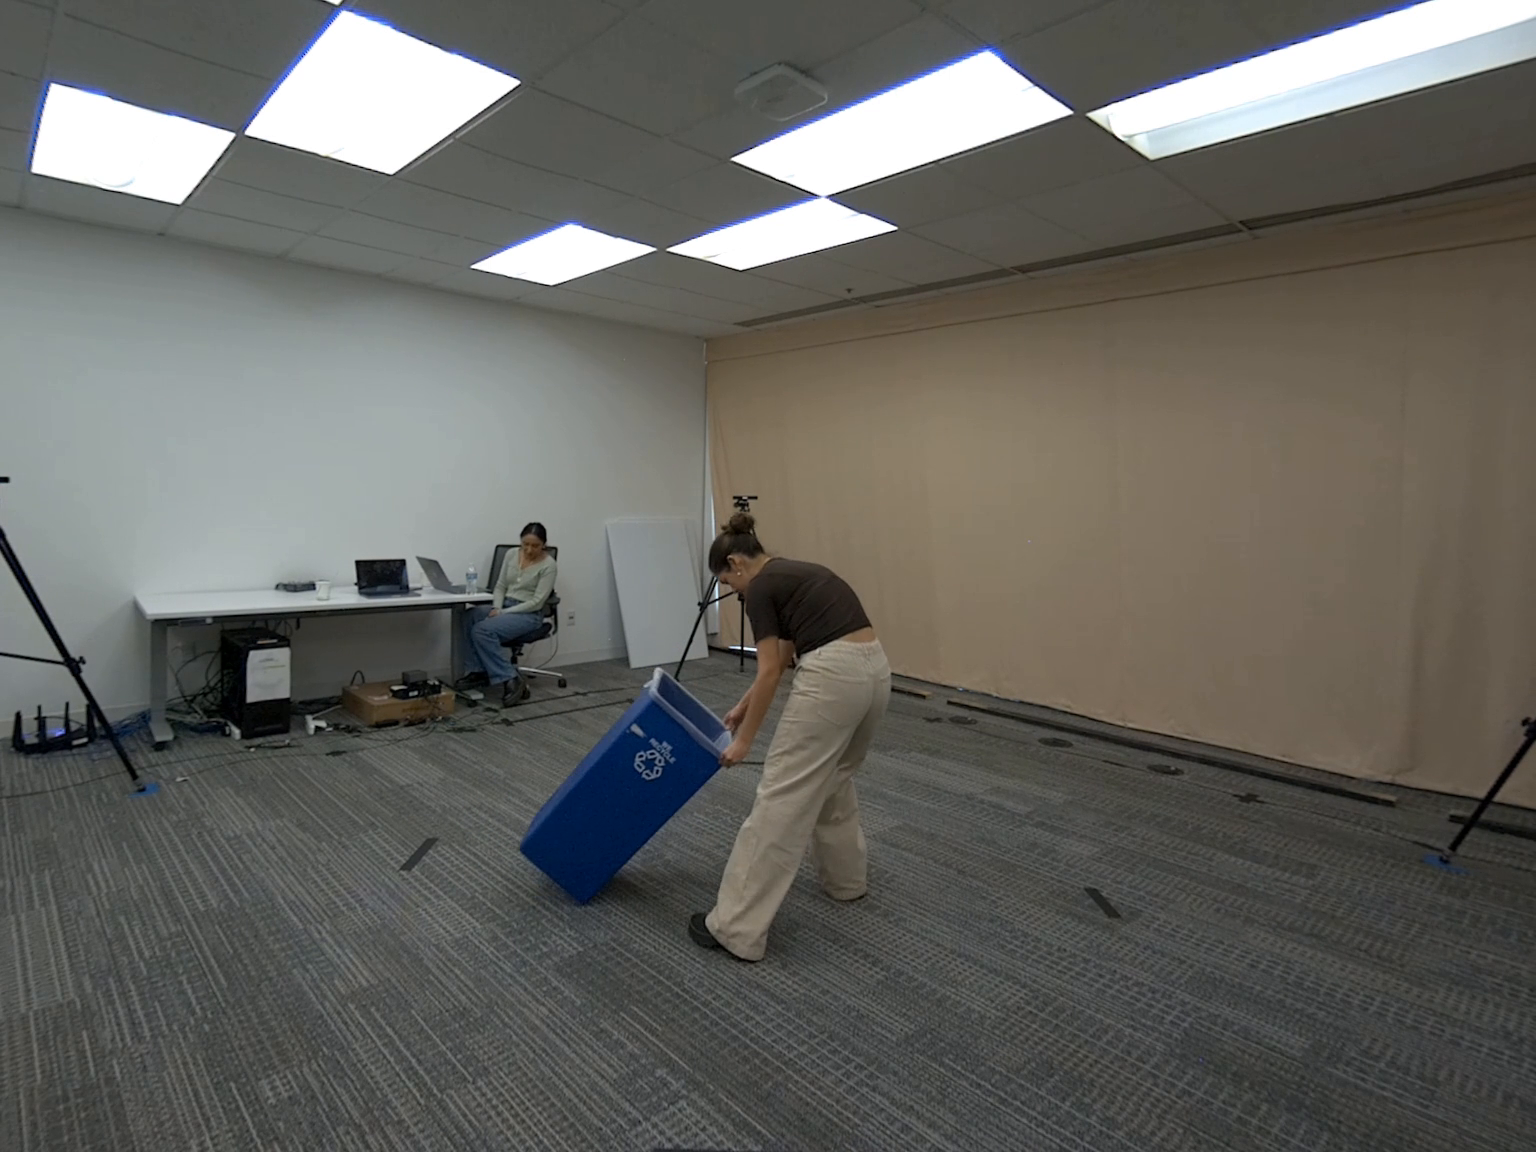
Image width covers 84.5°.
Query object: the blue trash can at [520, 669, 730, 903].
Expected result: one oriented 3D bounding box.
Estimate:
[{"bbox_3d":[-0.493,0.742,2.968,0.372,0.713,0.380,41,3,-5],"label":"blue trash can"}]
